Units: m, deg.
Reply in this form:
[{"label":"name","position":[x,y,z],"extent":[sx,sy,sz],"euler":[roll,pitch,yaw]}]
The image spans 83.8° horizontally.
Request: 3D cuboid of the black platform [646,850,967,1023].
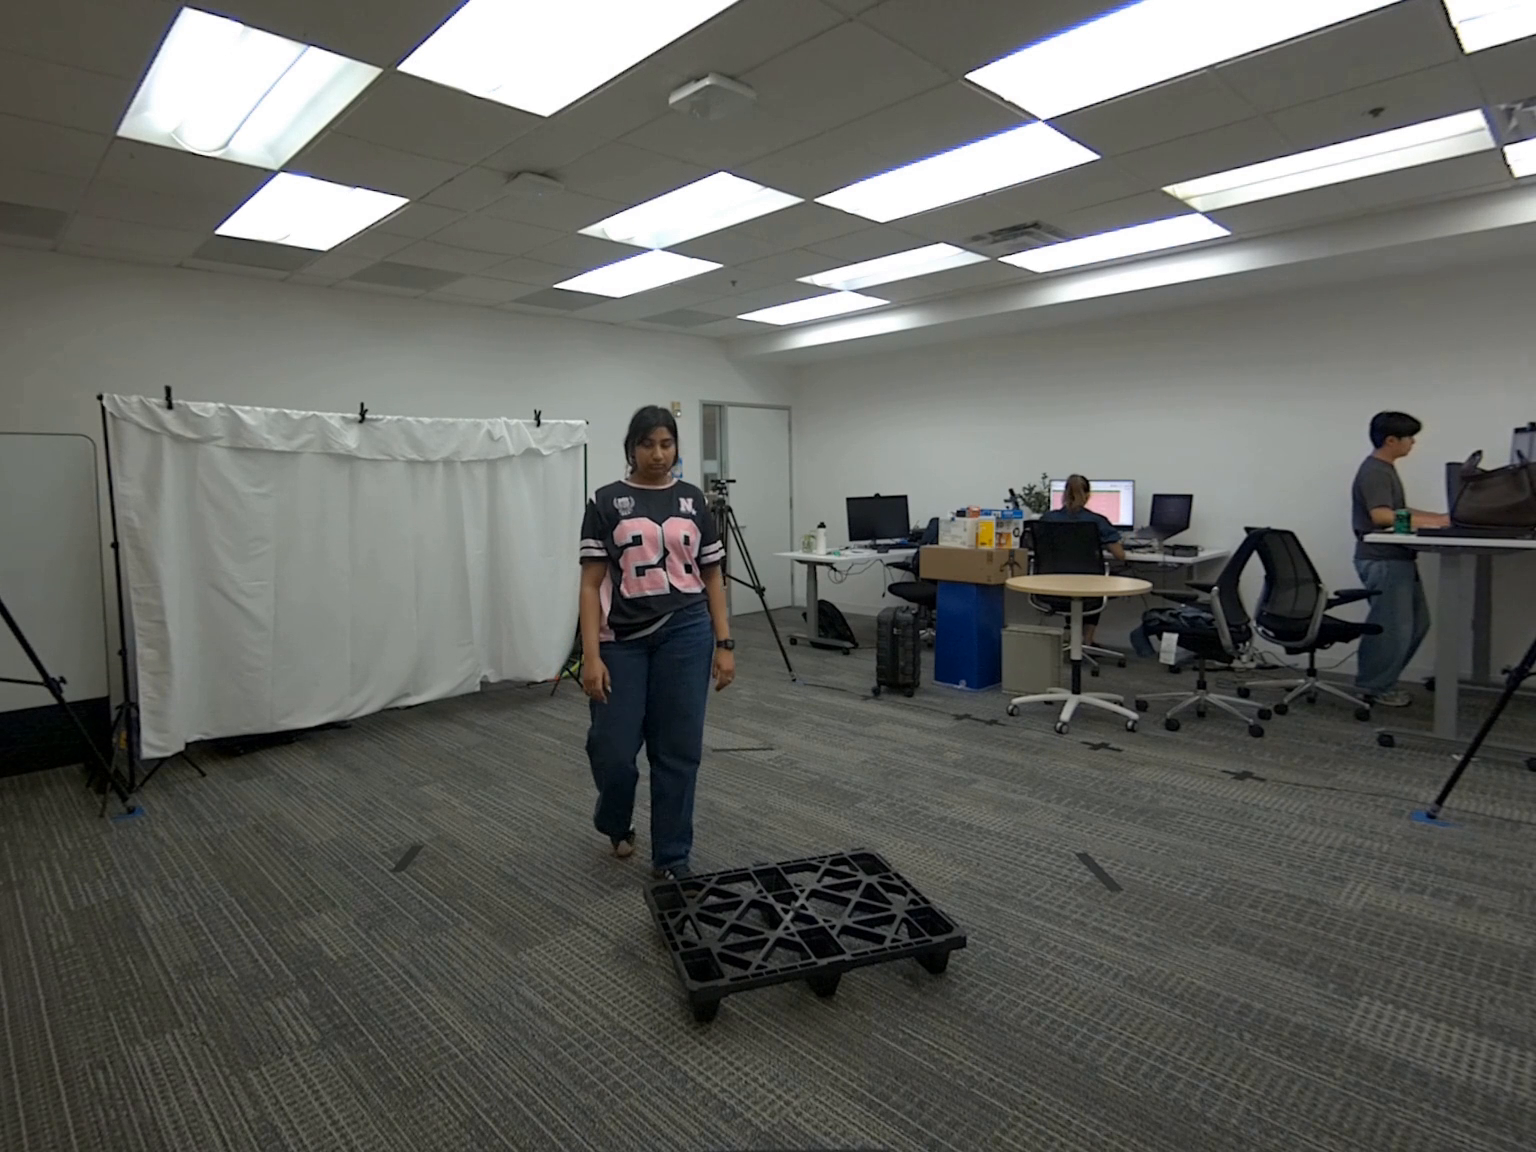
[{"label":"black platform","position":[0.088,1.043,2.523],"extent":[0.793,0.142,0.618],"euler":[-3,7,-17]}]
